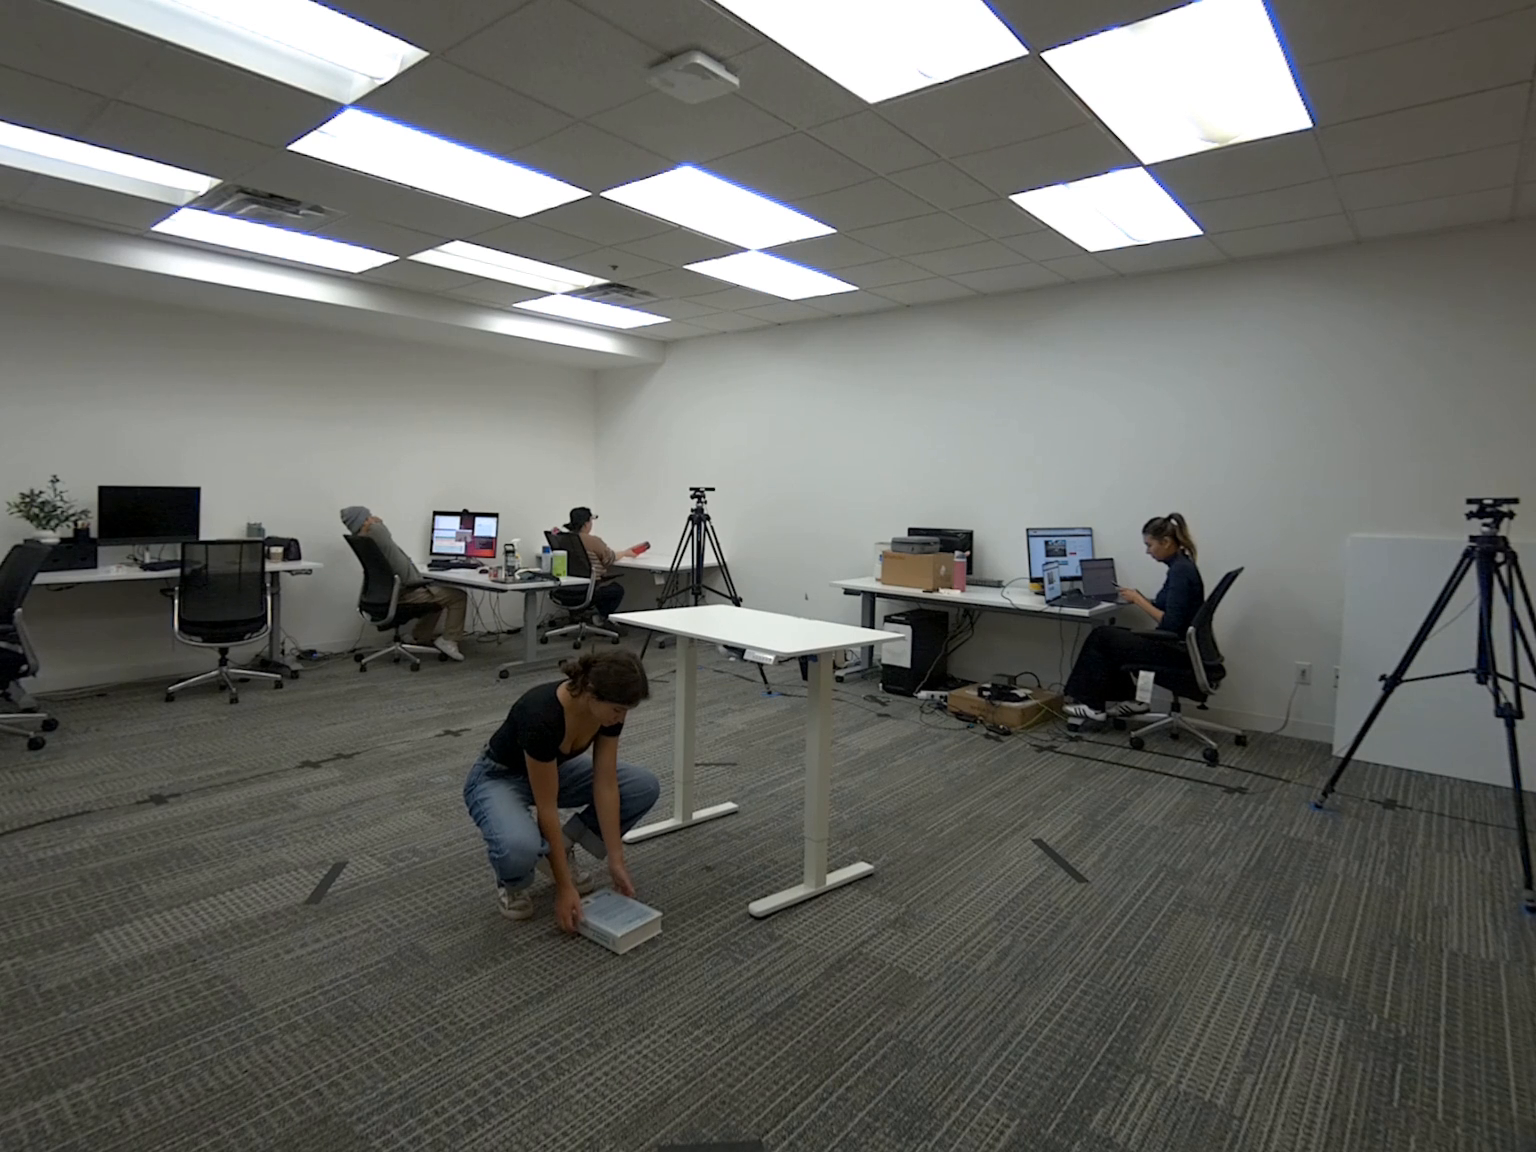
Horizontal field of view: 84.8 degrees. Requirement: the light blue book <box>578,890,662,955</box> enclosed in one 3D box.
[{"bbox_3d":[-0.501,1.085,2.657,0.270,0.059,0.186,5,7,39],"label":"light blue book"}]
